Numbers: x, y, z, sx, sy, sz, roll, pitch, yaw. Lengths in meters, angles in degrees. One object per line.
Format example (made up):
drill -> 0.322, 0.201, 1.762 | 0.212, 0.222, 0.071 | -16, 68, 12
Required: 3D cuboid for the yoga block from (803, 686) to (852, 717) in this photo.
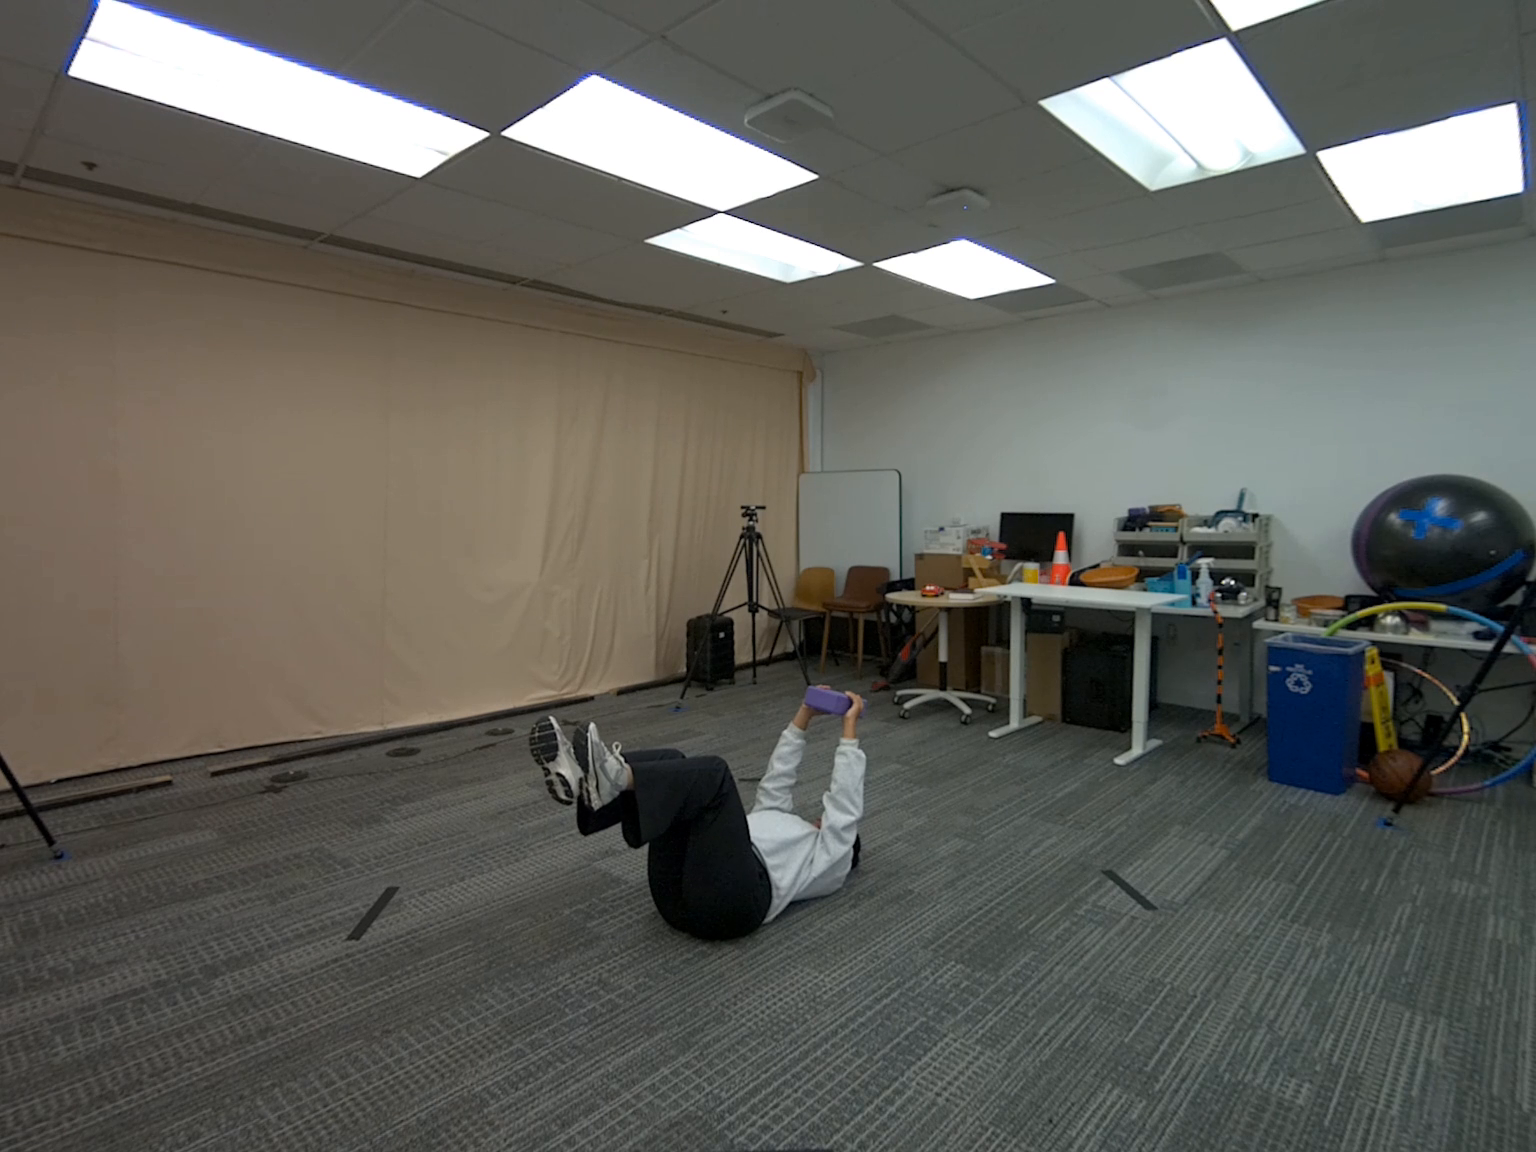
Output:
yoga block -> 0.269, 0.488, 3.257 | 0.154, 0.076, 0.221 | 12, -4, 36
